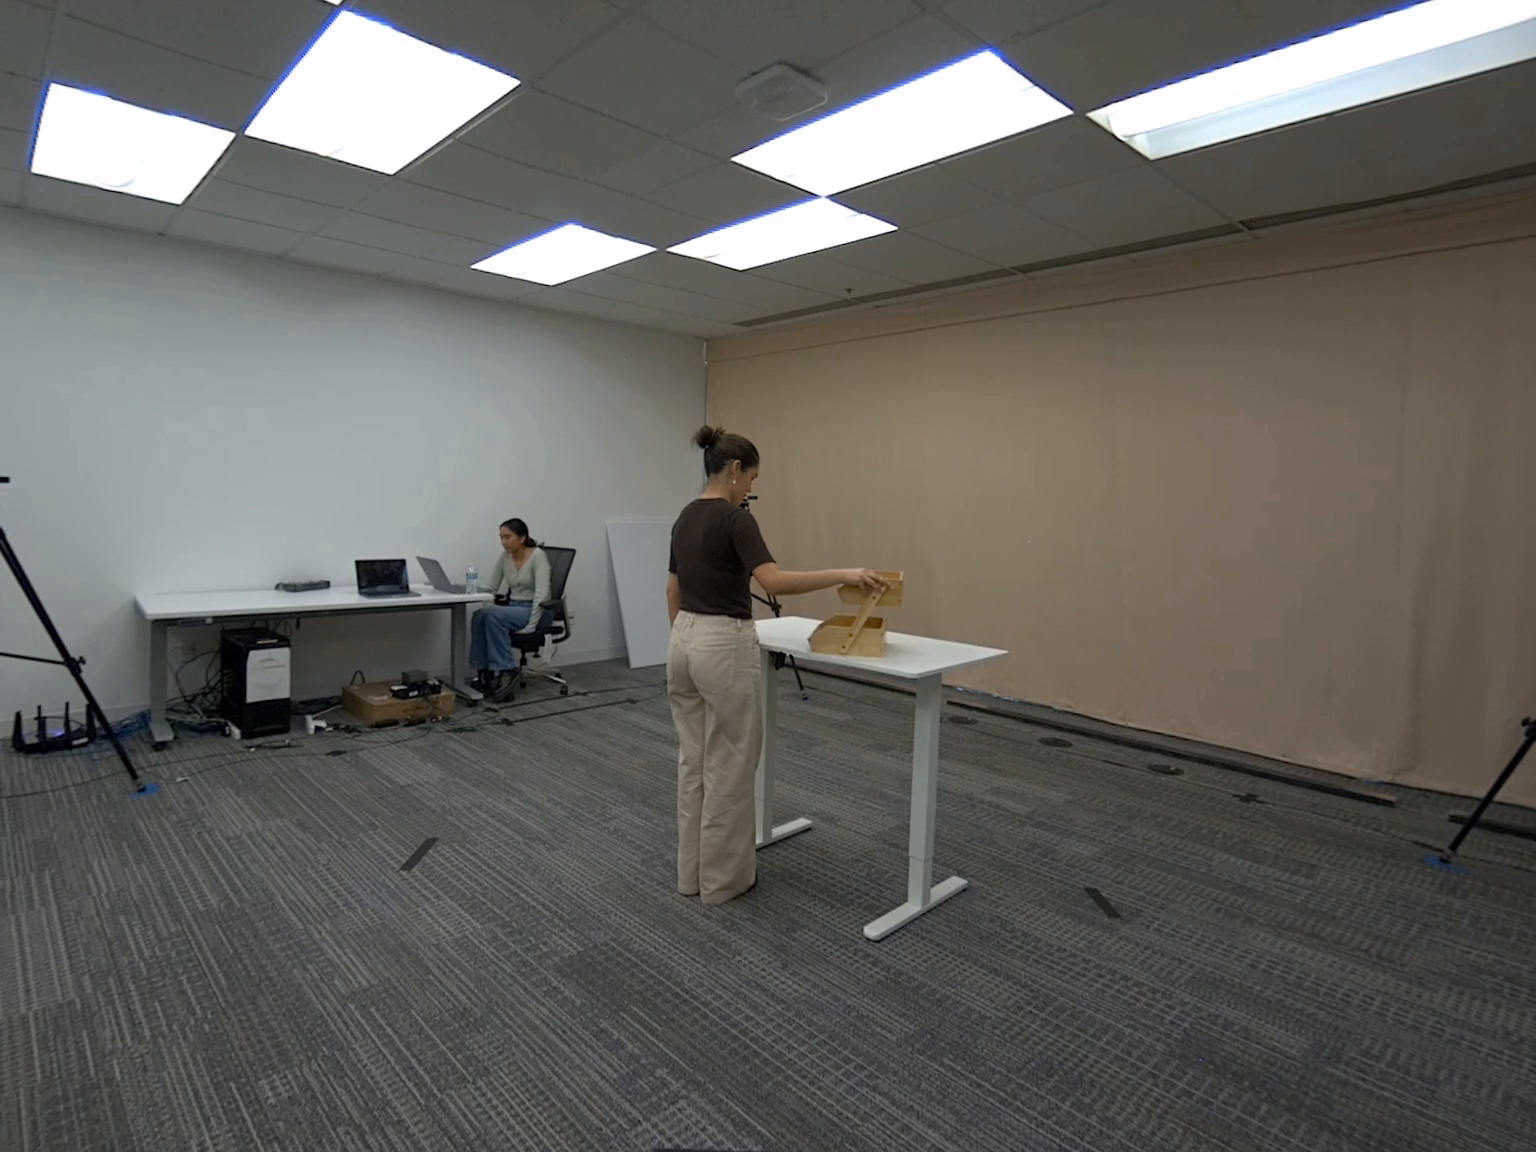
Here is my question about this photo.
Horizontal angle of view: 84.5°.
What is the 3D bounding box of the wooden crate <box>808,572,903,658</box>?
[{"bbox_3d":[0.298,0.120,2.903,0.305,0.272,0.322,3,5,11],"label":"wooden crate"}]
